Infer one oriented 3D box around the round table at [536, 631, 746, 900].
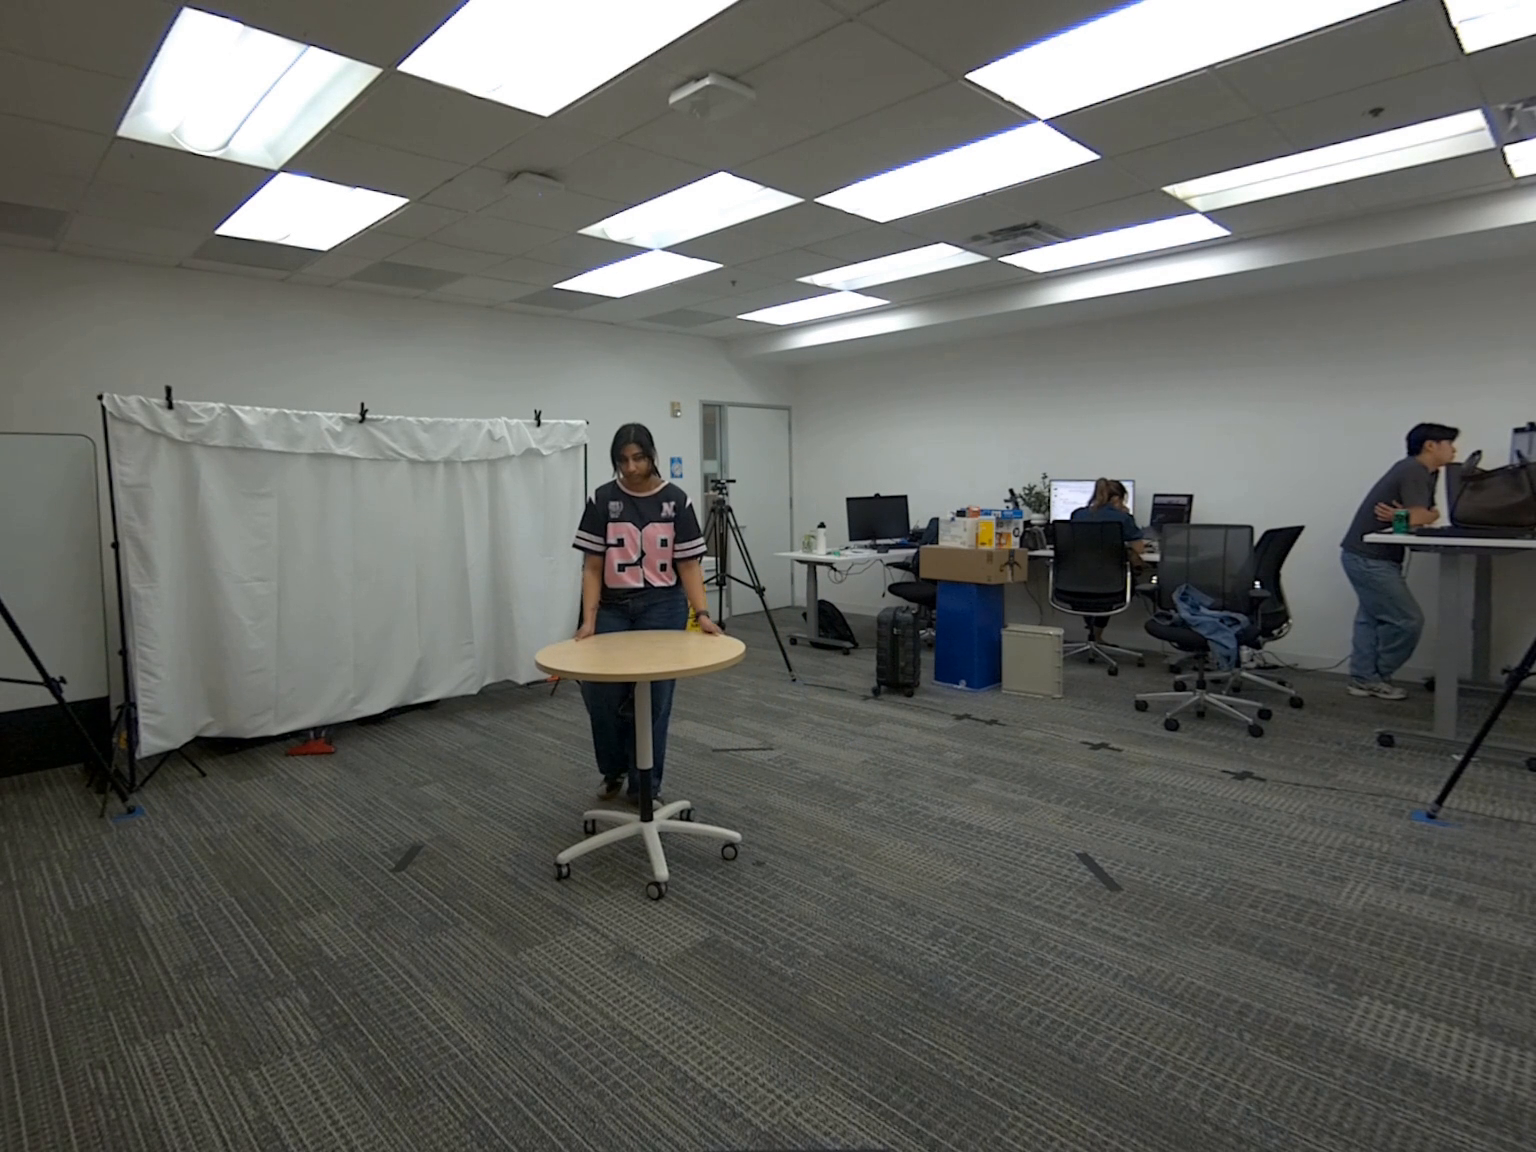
[{"bbox_3d":[-0.446,0.659,3.167,0.784,0.783,0.789,-1,5,-2],"label":"round table"}]
